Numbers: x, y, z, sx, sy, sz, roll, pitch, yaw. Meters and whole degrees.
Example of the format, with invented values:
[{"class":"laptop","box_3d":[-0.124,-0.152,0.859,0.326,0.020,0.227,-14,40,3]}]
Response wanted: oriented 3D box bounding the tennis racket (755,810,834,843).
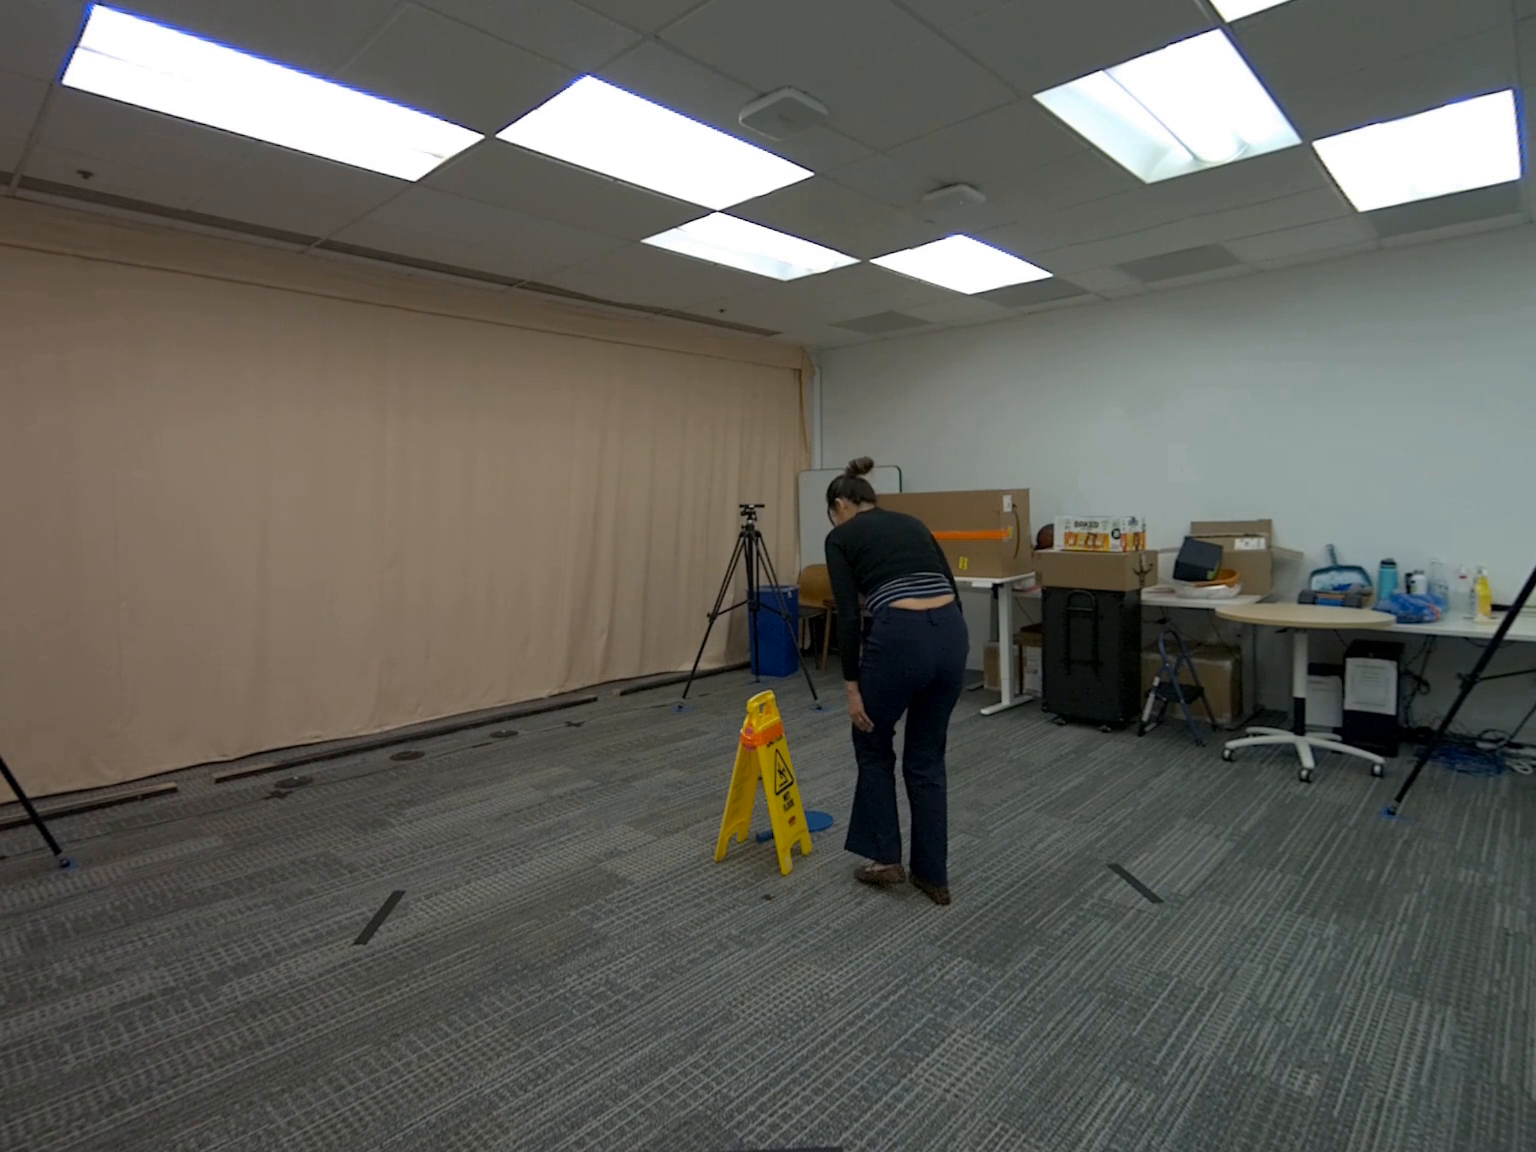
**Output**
[{"class":"tennis racket","box_3d":[0.109,1.072,3.616,0.419,0.032,0.221,-3,6,-43]}]
